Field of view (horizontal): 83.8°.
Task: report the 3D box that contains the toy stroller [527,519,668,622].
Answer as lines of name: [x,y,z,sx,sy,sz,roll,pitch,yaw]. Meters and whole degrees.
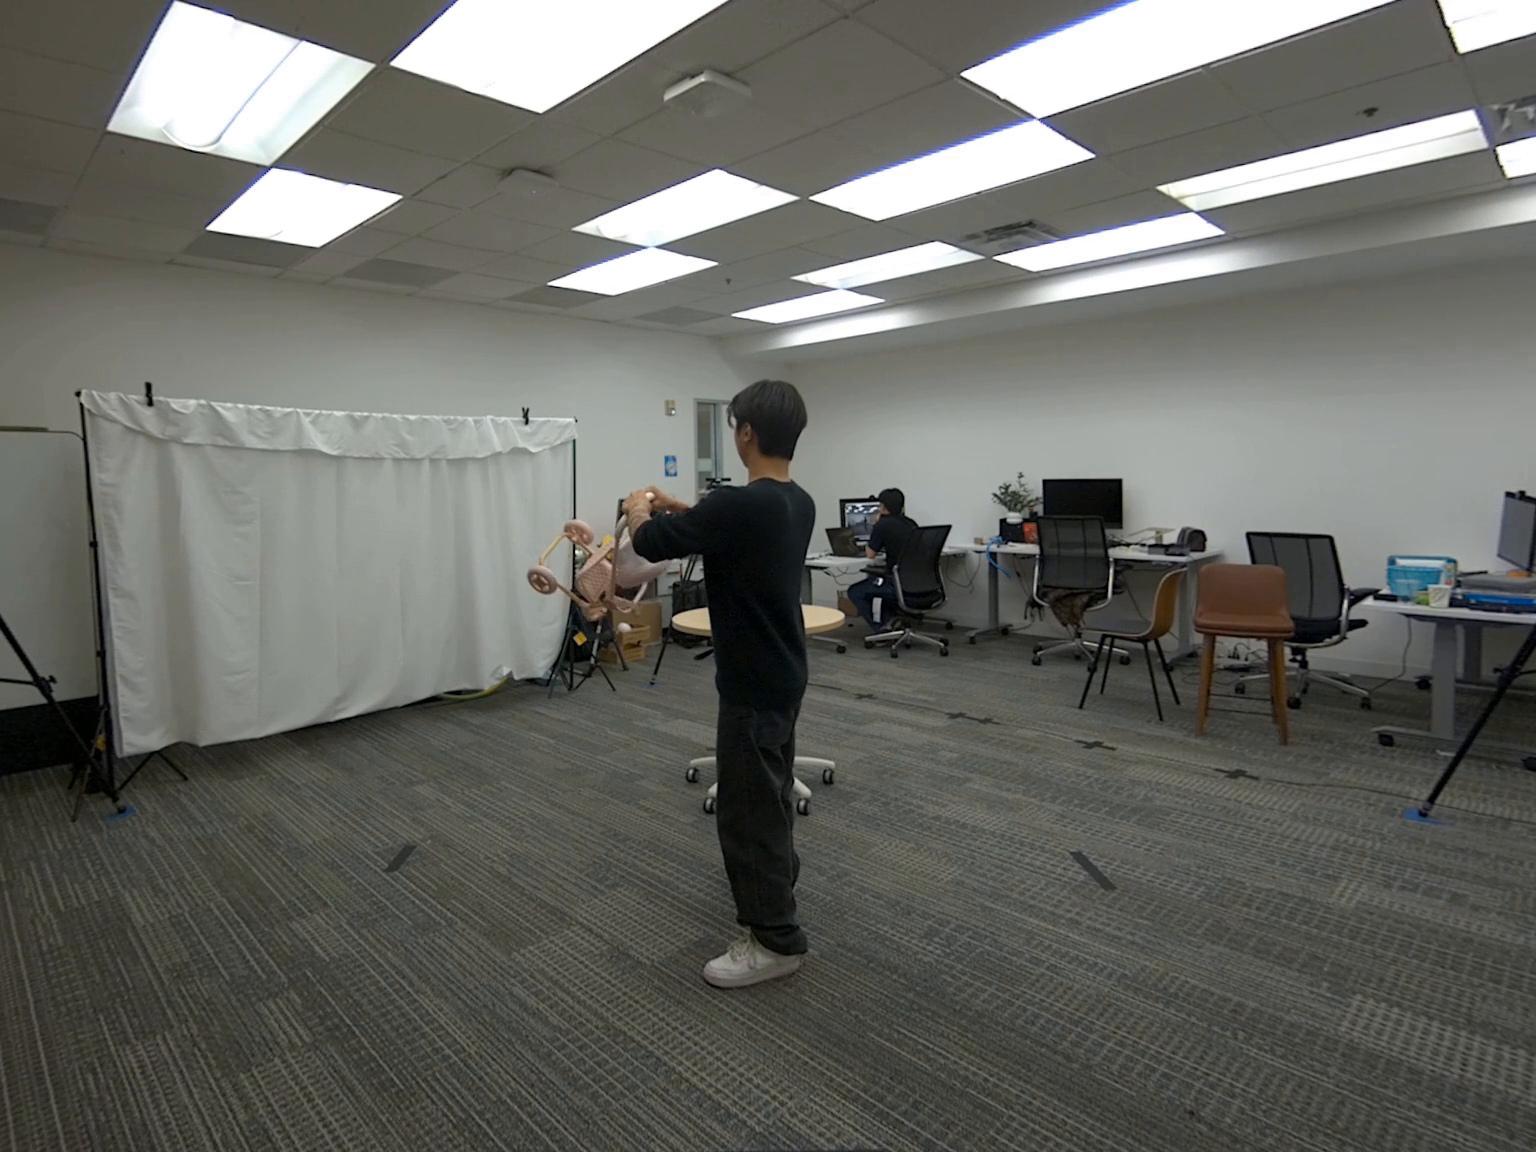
toy stroller: [-0.508,-0.028,2.796,0.544,0.333,0.283,-19,25,38]
